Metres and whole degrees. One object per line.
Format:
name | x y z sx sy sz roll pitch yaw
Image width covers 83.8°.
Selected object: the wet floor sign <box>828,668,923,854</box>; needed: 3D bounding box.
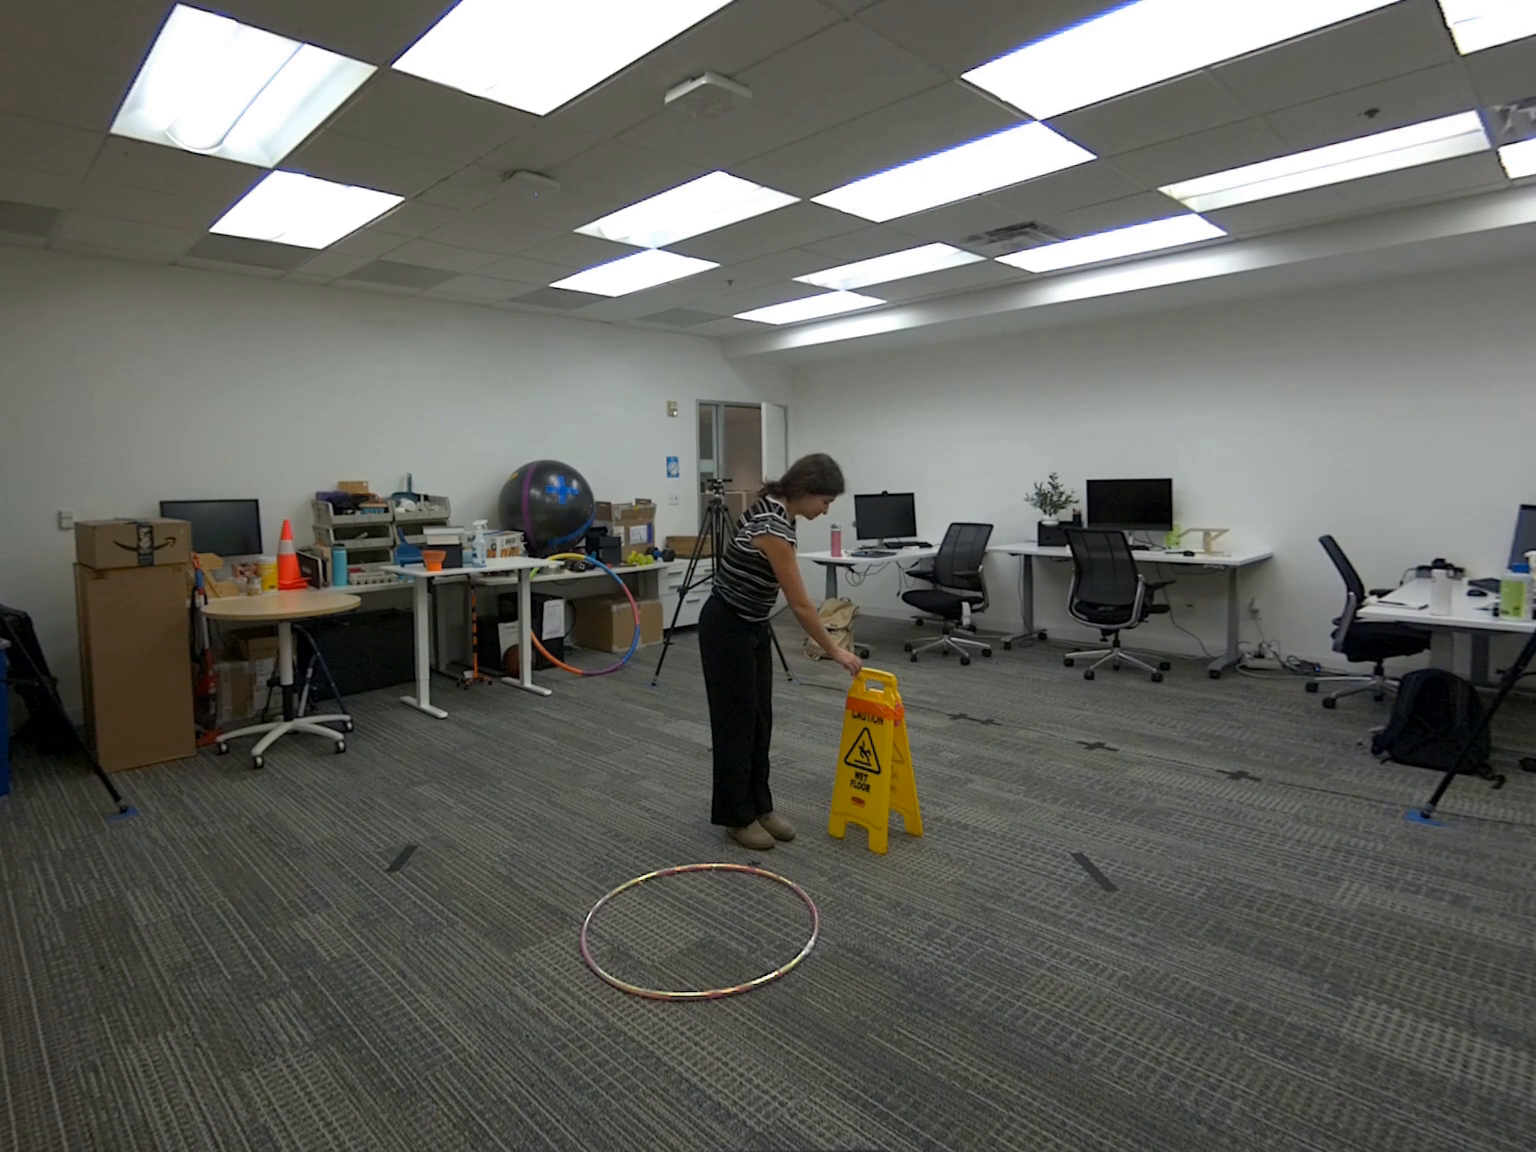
wet floor sign | 0.410 0.685 3.313 0.282 0.644 0.291 -5 5 -43
